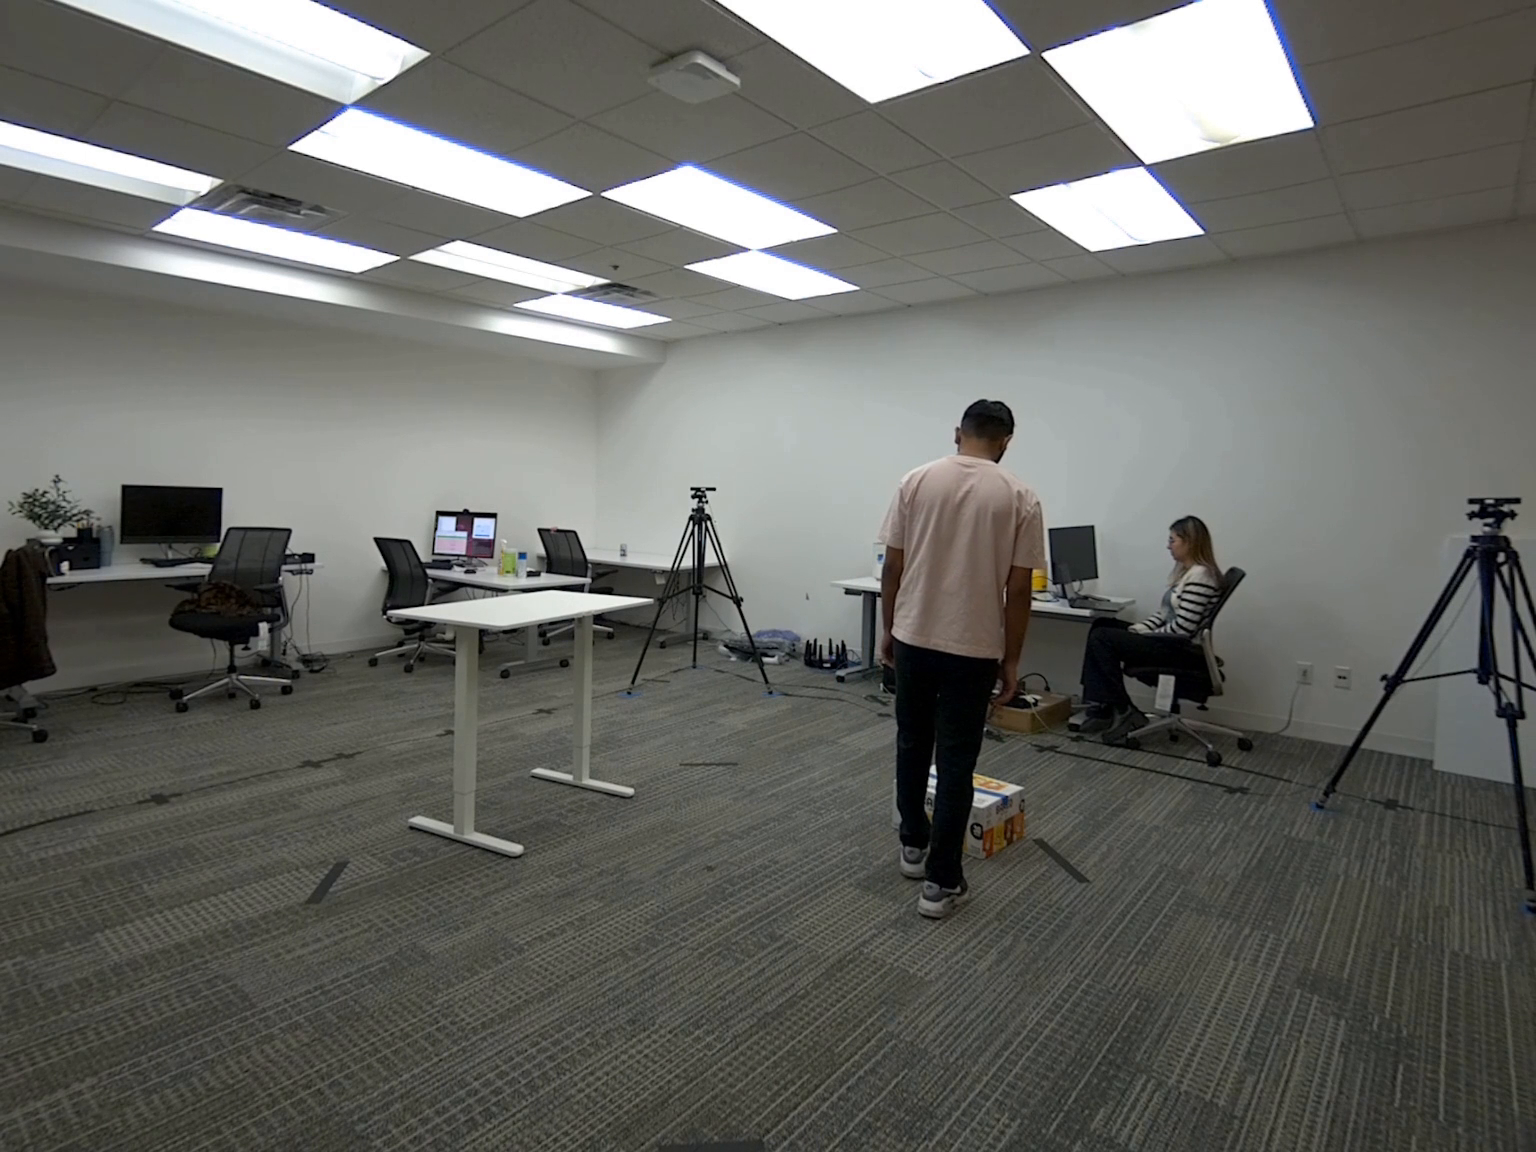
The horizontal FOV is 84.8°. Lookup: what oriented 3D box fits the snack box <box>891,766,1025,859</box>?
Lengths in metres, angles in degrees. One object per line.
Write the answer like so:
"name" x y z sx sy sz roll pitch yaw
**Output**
"snack box" 0.778 0.951 3.491 0.419 0.205 0.330 6 7 44
